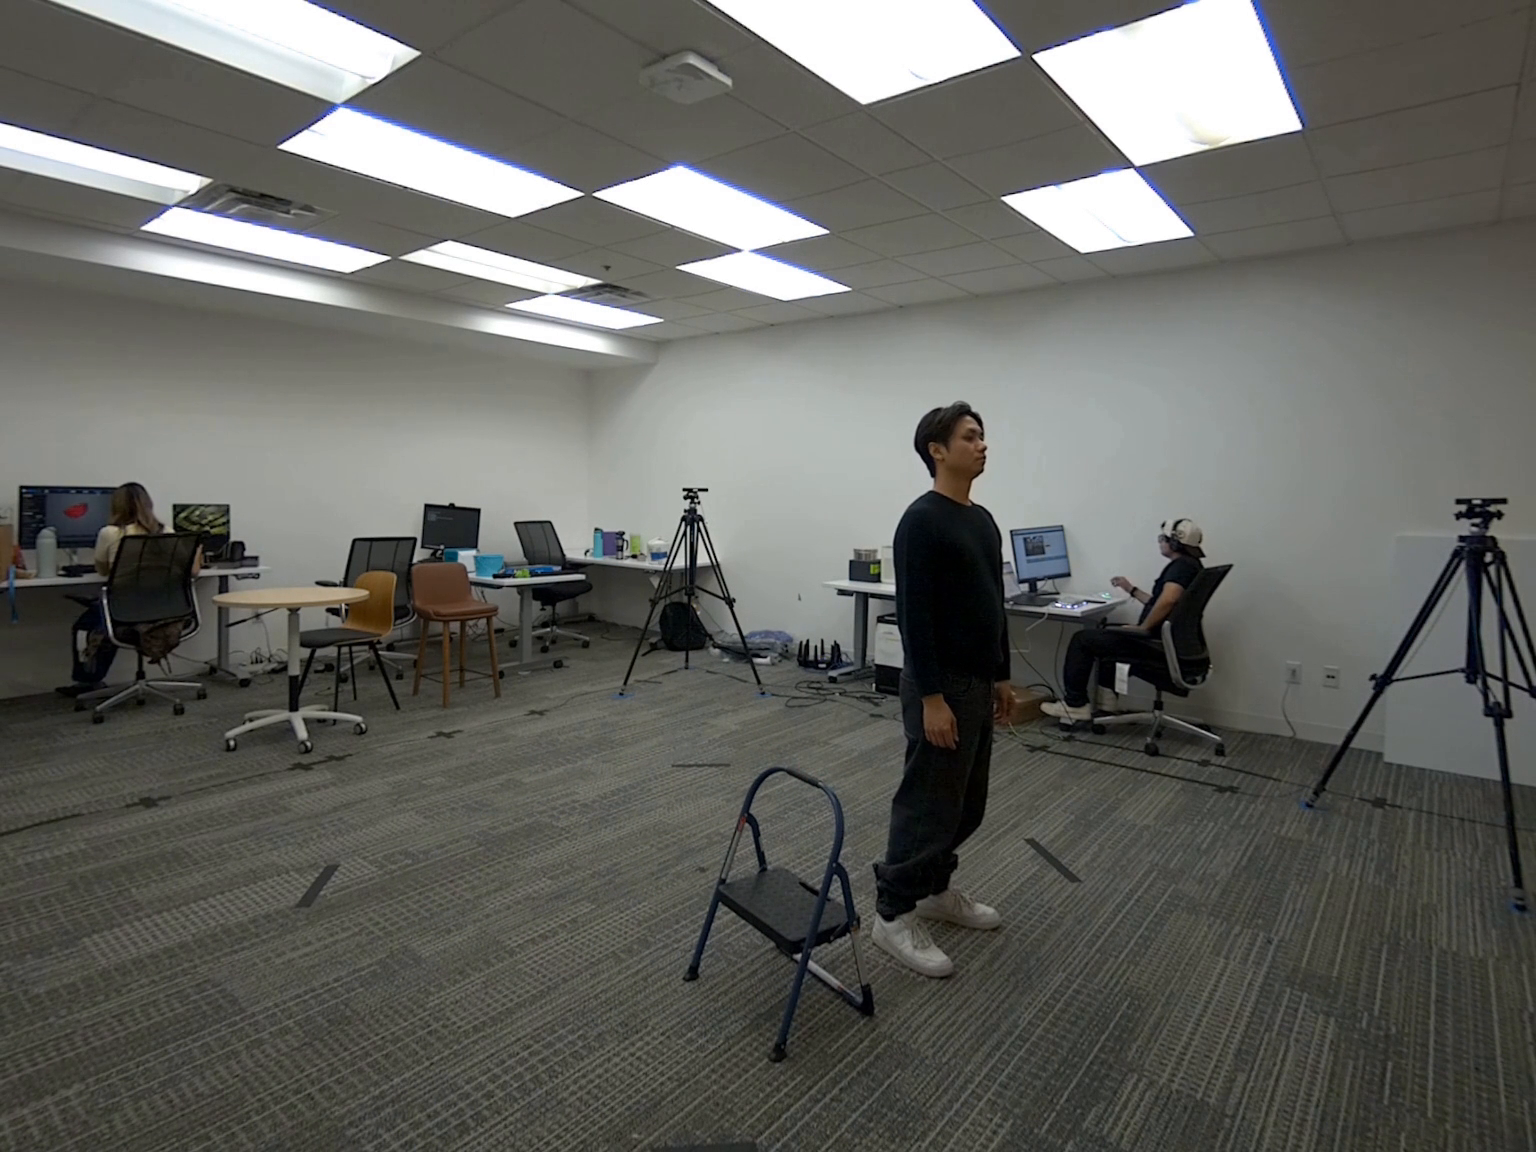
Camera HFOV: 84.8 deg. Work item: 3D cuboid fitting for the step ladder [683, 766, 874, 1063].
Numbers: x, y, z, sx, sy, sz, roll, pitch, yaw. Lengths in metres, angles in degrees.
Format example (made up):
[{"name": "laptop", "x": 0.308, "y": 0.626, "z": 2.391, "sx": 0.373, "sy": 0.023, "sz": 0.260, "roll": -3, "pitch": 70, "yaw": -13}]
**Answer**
[{"name": "step ladder", "x": 0.030, "y": 0.847, "z": 2.324, "sx": 0.339, "sy": 0.604, "sz": 0.445, "roll": -1, "pitch": 5, "yaw": -36}]
